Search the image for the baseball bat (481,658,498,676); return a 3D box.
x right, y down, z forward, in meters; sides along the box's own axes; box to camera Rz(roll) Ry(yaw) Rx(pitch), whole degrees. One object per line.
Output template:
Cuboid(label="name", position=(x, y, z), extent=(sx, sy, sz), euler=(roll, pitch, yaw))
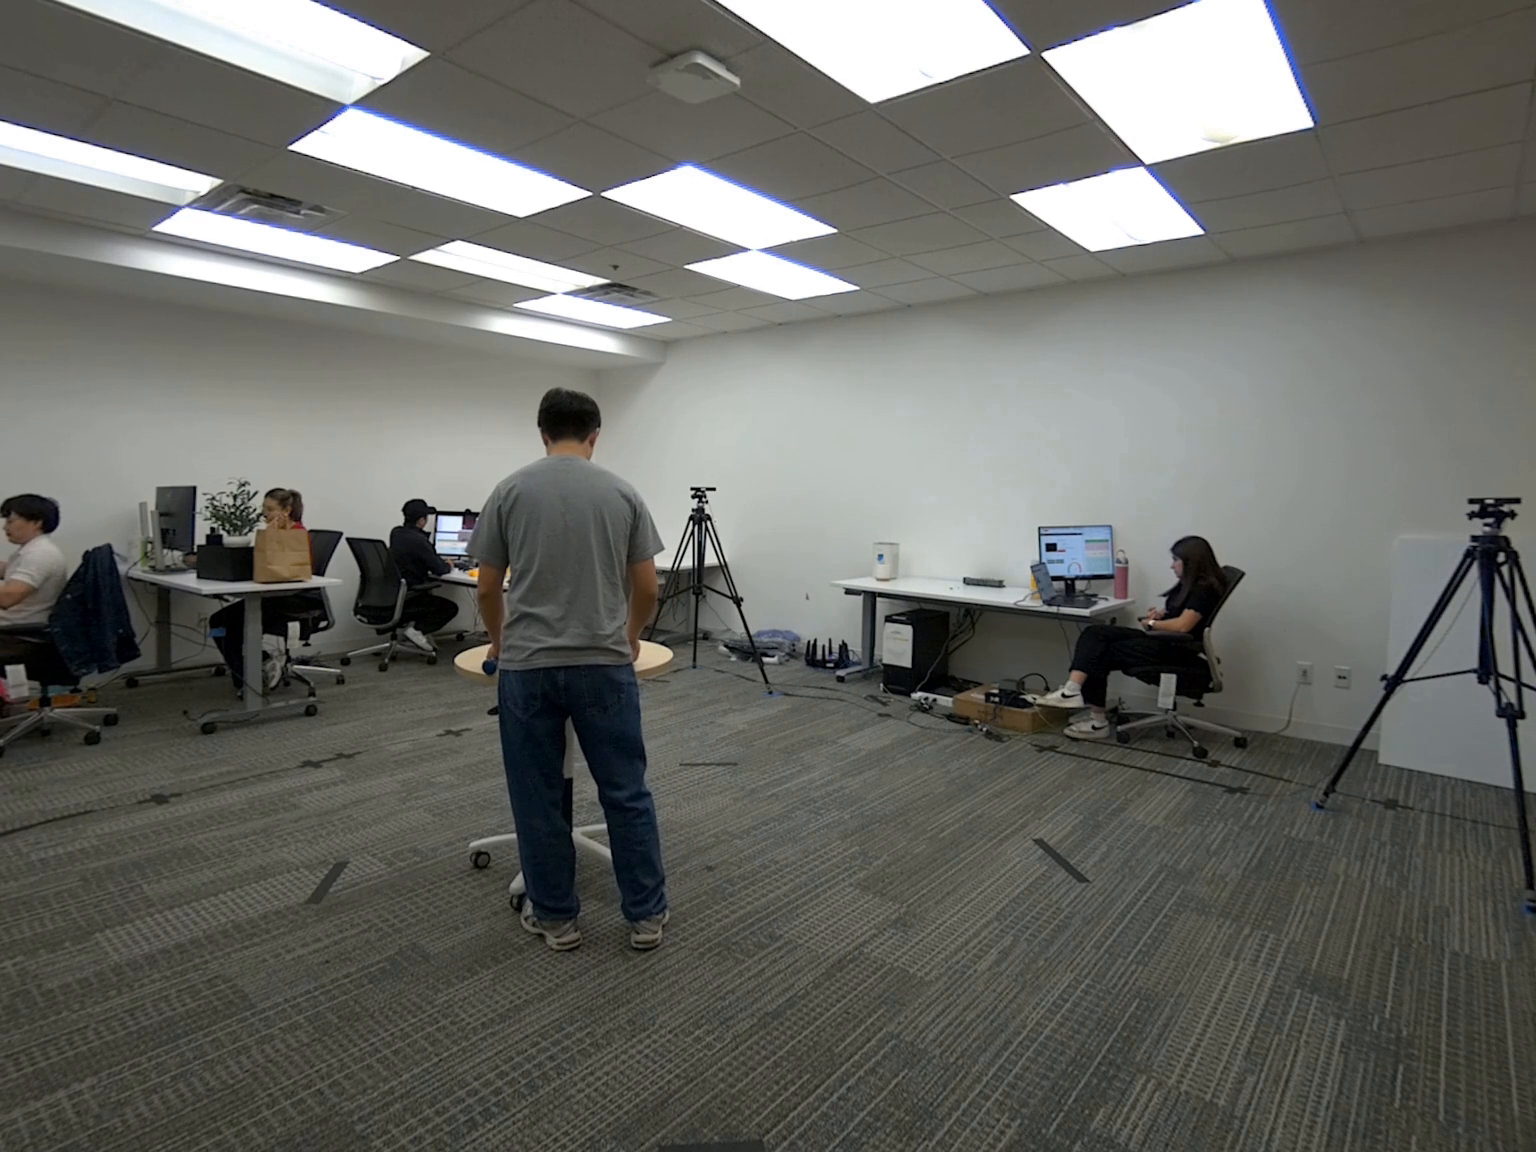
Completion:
Cuboid(label="baseball bat", position=(-0.878, 0.253, 2.950), extent=(0.089, 0.088, 0.543), euler=(1, 8, 4))
